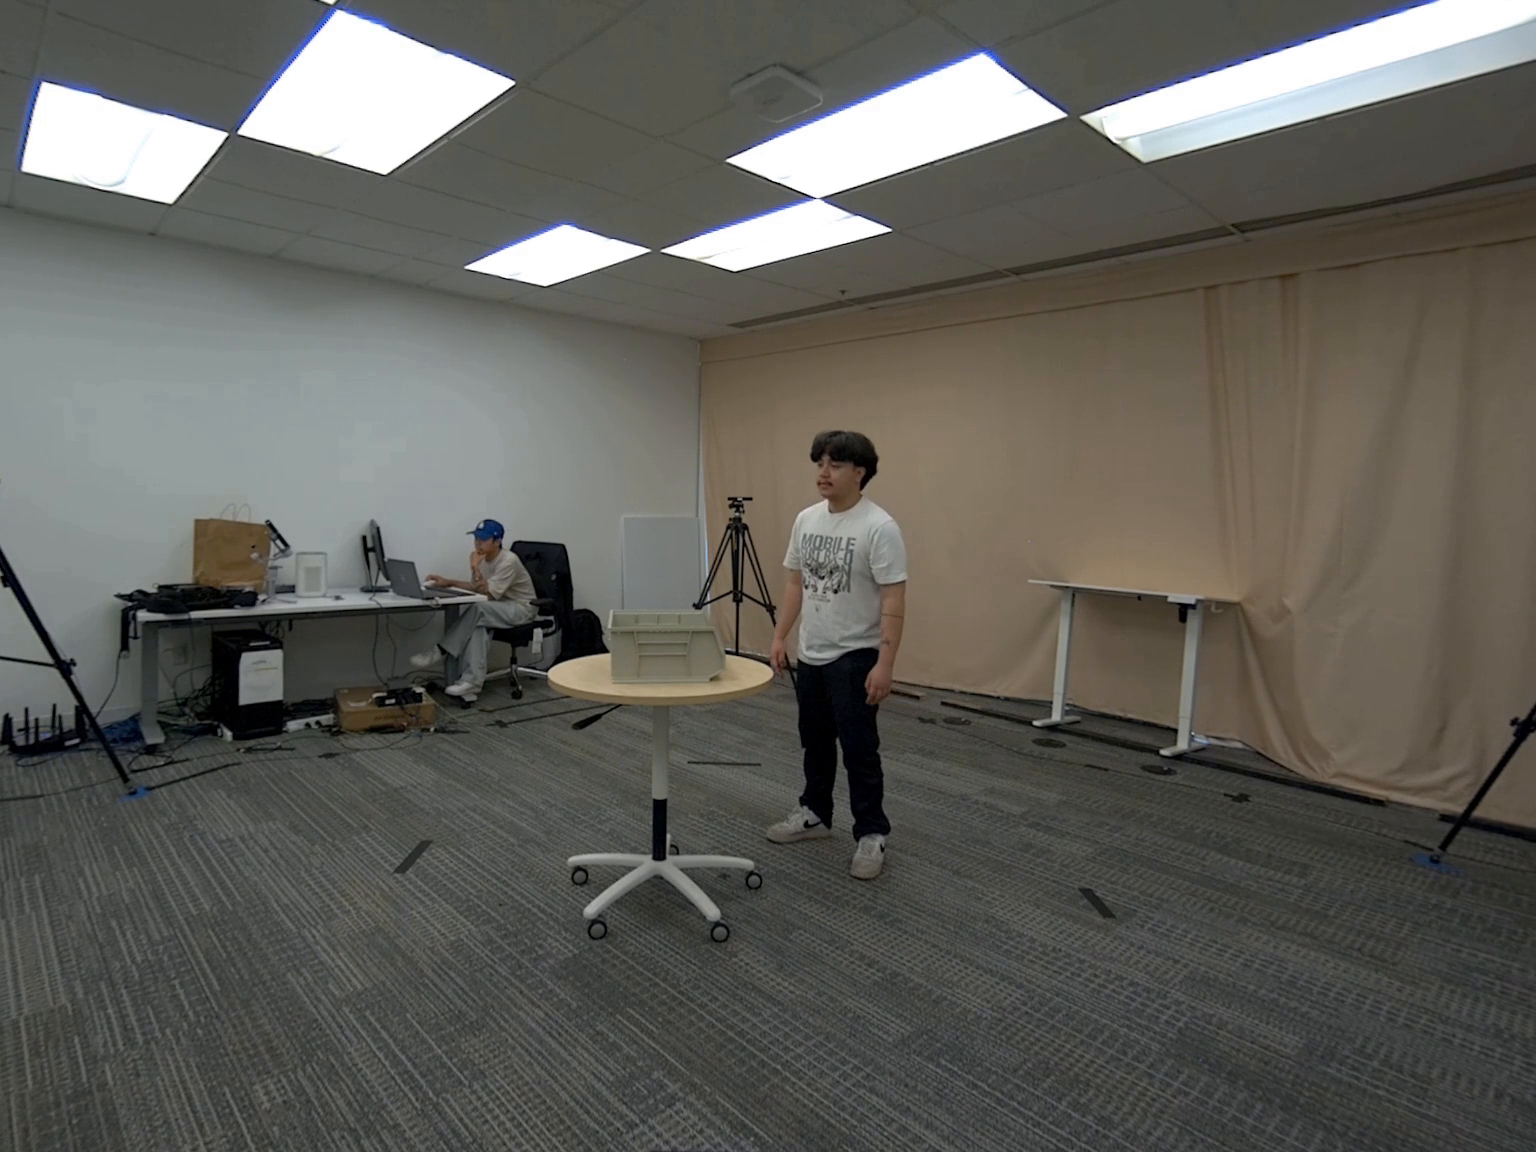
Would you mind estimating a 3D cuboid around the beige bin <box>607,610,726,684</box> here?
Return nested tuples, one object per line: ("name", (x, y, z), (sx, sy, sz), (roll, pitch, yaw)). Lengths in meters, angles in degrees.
("beige bin", (-0.353, 0.233, 2.892), (0.375, 0.188, 0.427), (-2, 6, -9))
